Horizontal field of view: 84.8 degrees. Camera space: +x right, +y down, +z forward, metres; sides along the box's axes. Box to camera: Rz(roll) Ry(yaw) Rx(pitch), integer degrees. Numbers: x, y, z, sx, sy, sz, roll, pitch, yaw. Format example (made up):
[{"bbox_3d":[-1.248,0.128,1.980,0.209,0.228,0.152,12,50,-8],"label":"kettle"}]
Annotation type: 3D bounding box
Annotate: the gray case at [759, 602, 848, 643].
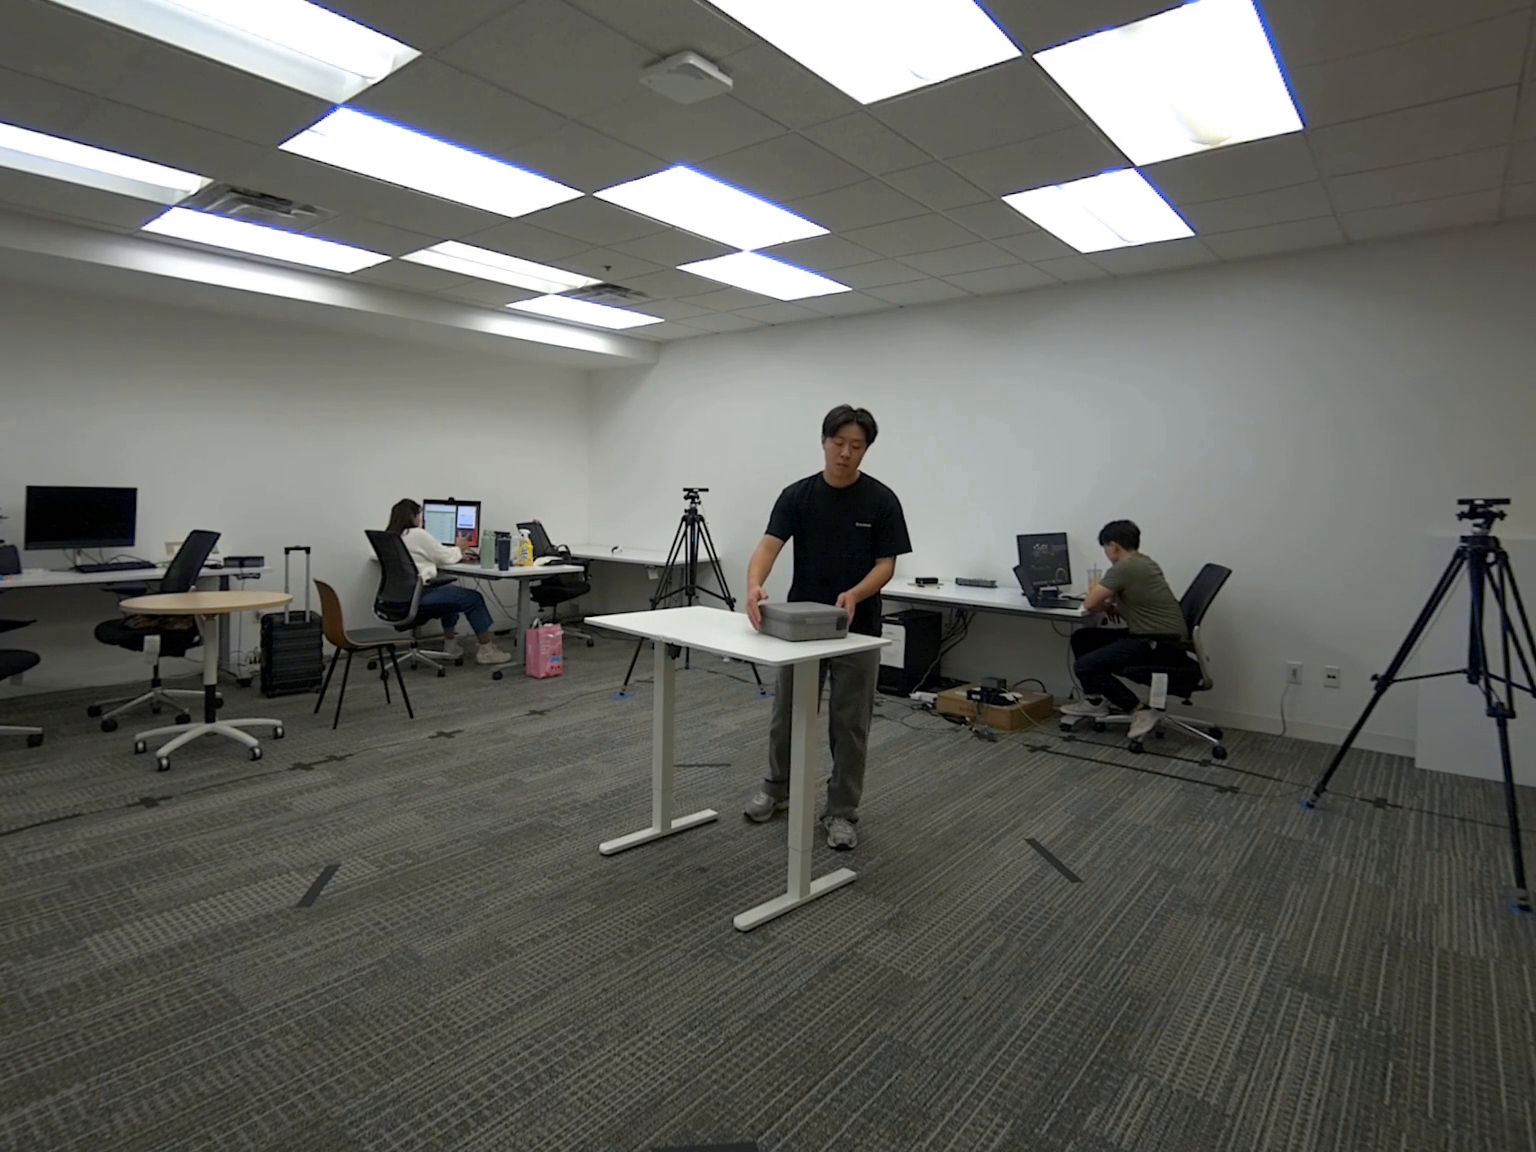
[{"bbox_3d":[0.107,0.153,3.008,0.256,0.103,0.296,-2,5,-29],"label":"gray case"}]
